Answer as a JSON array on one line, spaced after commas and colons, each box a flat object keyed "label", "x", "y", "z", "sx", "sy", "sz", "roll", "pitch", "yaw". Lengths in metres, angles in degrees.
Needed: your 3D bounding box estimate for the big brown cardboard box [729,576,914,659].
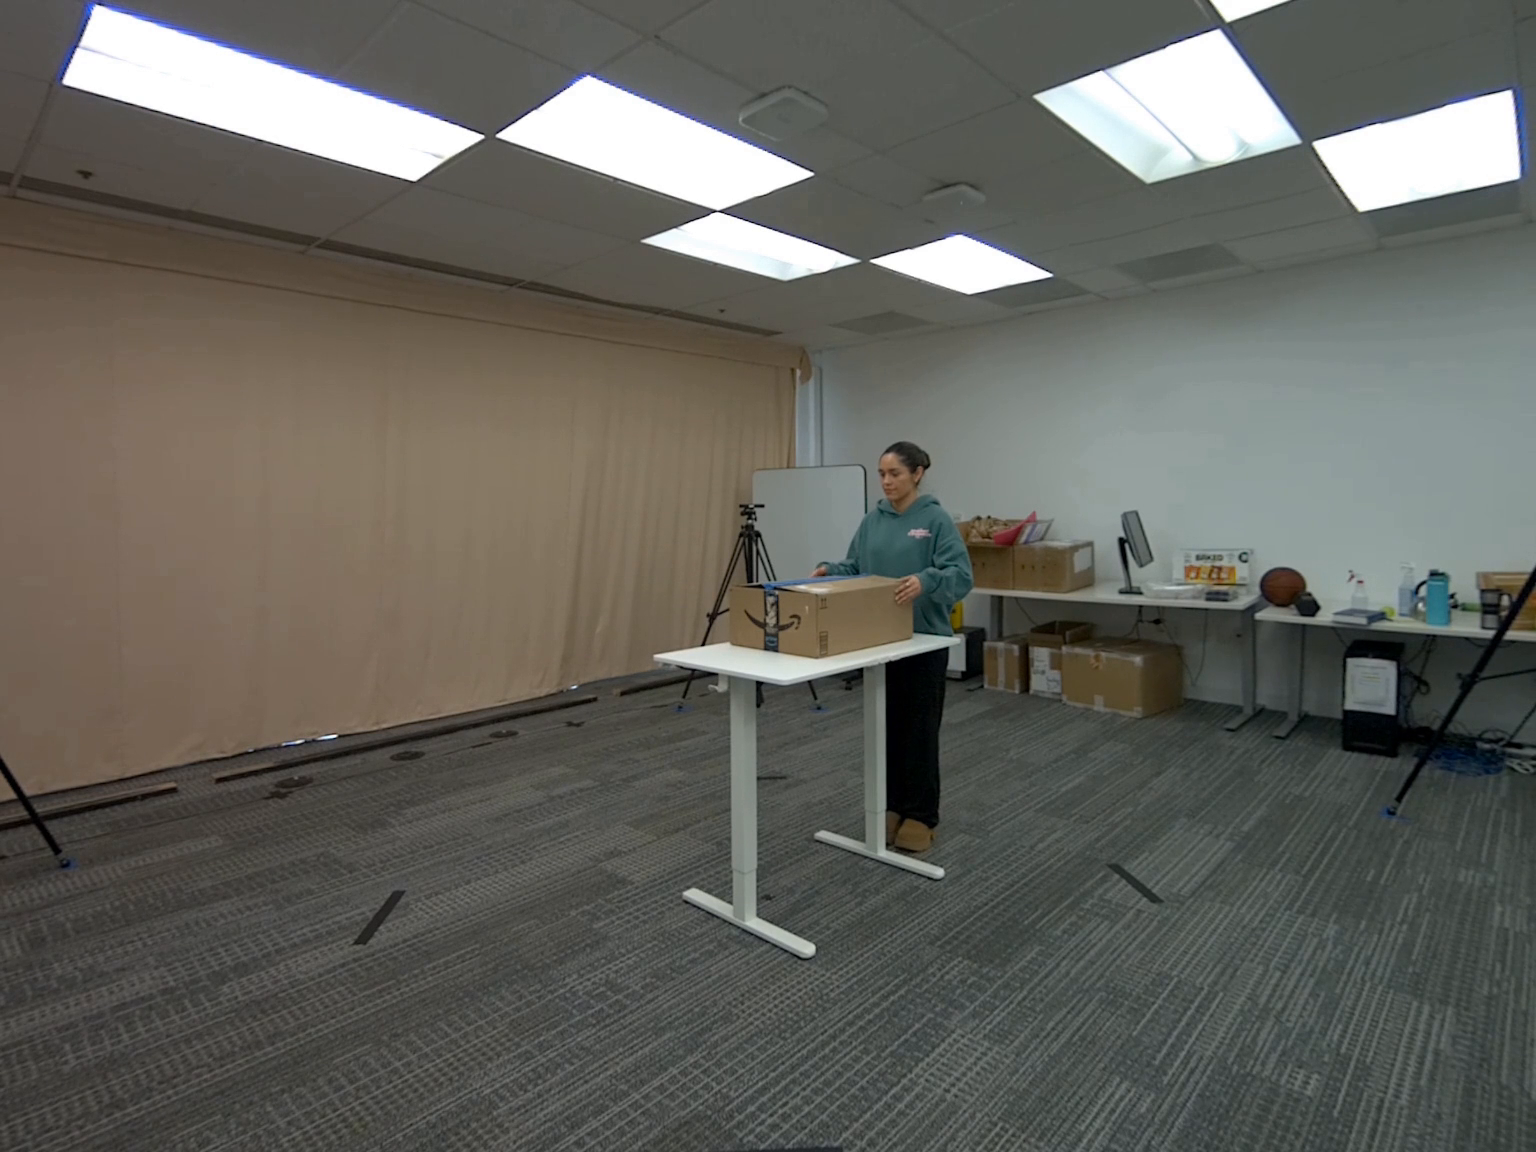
[{"label": "big brown cardboard box", "x": 0.199, "y": 0.136, "z": 3.095, "sx": 0.431, "sy": 0.233, "sz": 0.571, "roll": 3, "pitch": 5, "yaw": 44}]
